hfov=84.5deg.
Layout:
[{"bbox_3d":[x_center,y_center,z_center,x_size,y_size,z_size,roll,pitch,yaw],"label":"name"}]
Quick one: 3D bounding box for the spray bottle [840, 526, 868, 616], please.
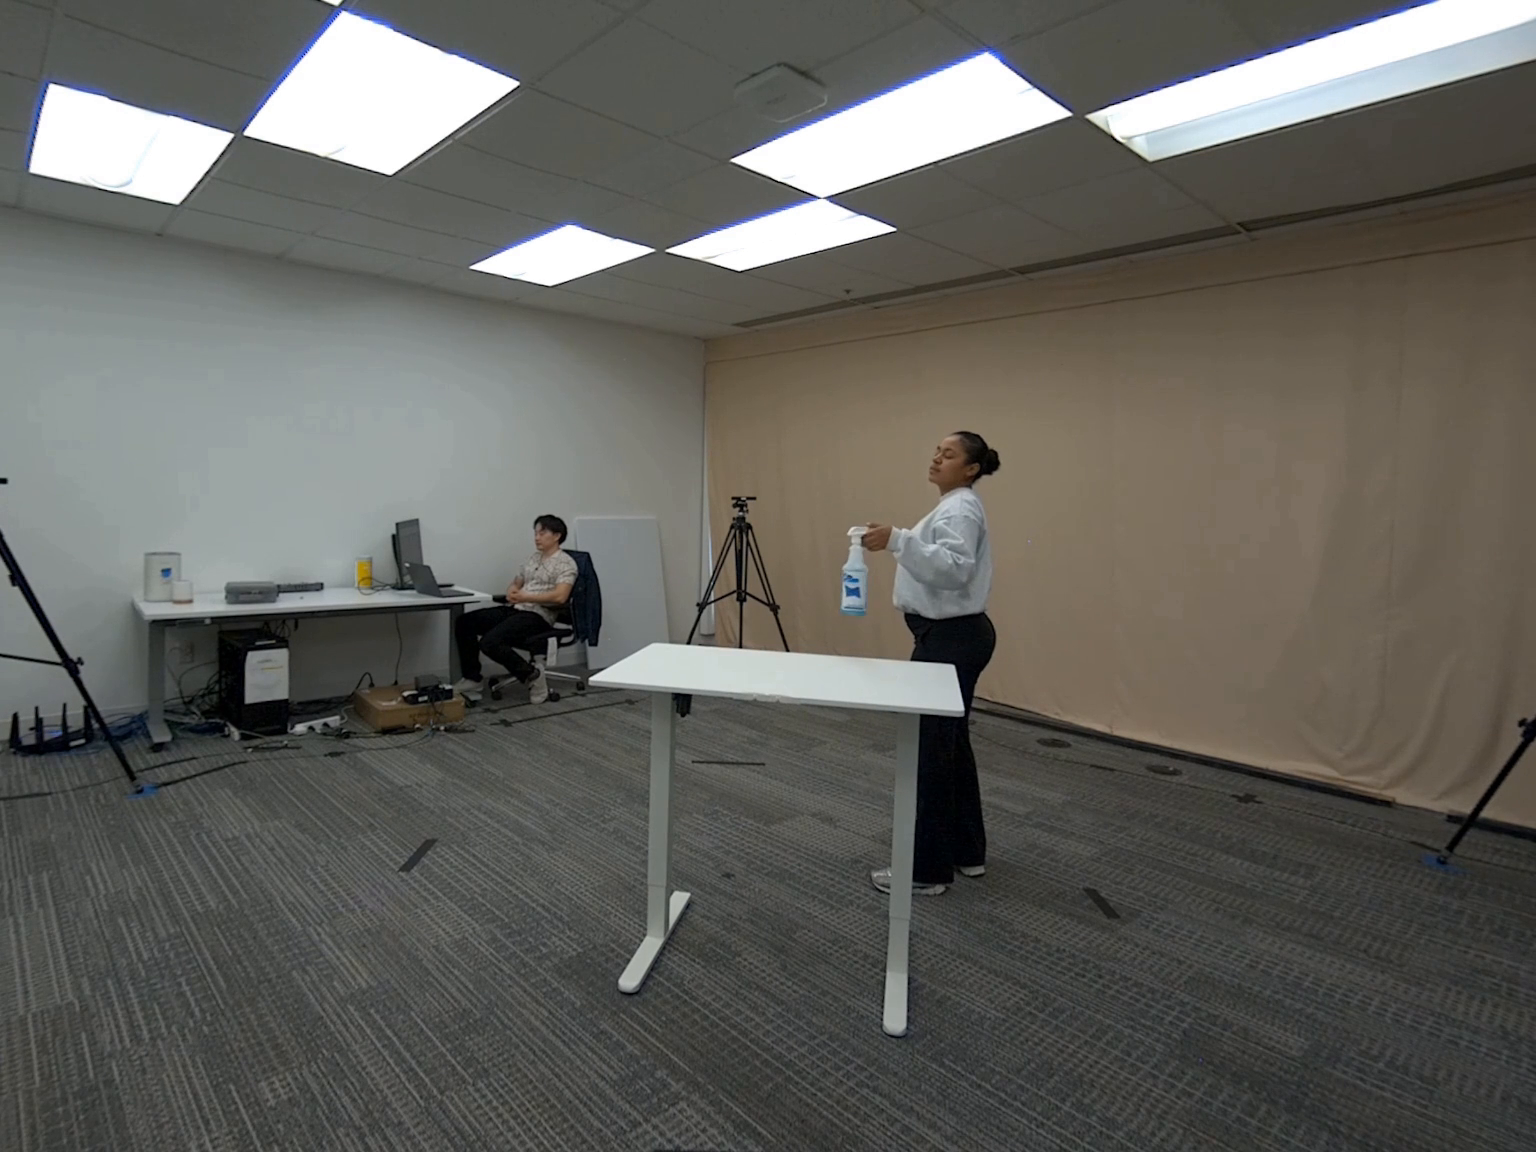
[{"bbox_3d":[0.299,-0.004,2.819,0.089,0.298,0.088,4,-1,-15],"label":"spray bottle"}]
